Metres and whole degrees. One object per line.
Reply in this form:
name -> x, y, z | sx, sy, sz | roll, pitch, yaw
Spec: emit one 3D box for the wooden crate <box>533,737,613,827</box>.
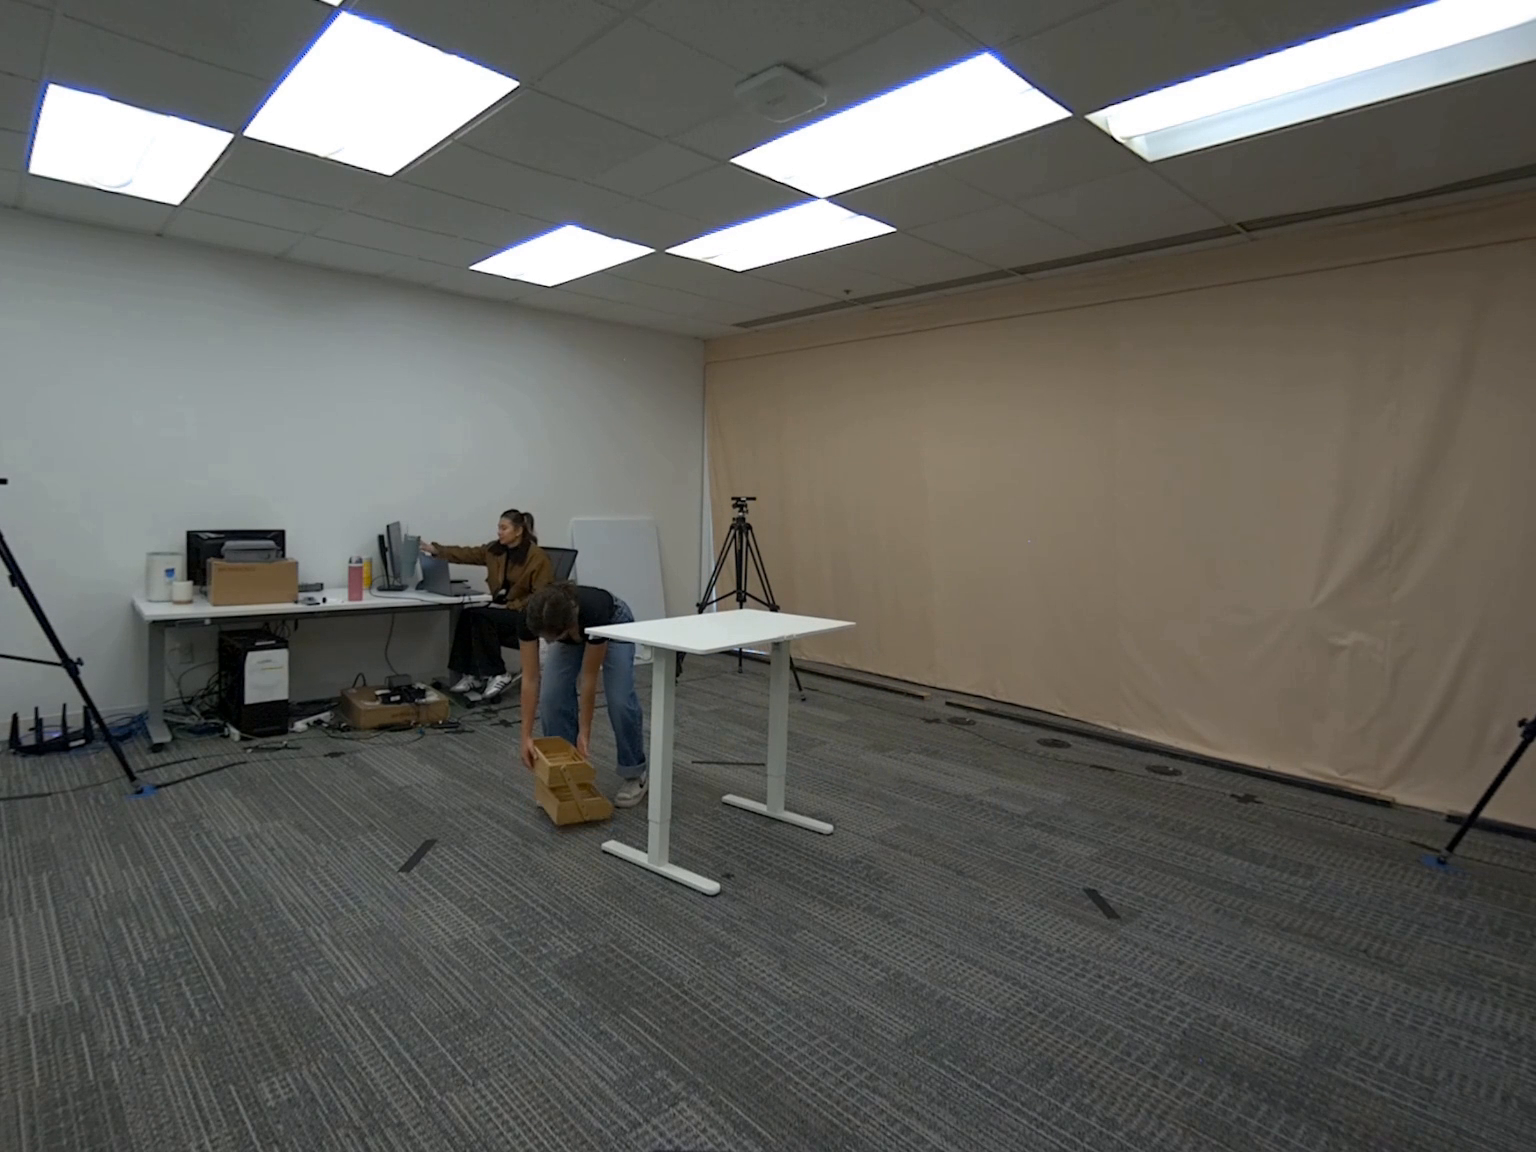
wooden crate -> -0.862, 0.858, 3.598 | 0.295, 0.272, 0.333 | 0, 10, -32
